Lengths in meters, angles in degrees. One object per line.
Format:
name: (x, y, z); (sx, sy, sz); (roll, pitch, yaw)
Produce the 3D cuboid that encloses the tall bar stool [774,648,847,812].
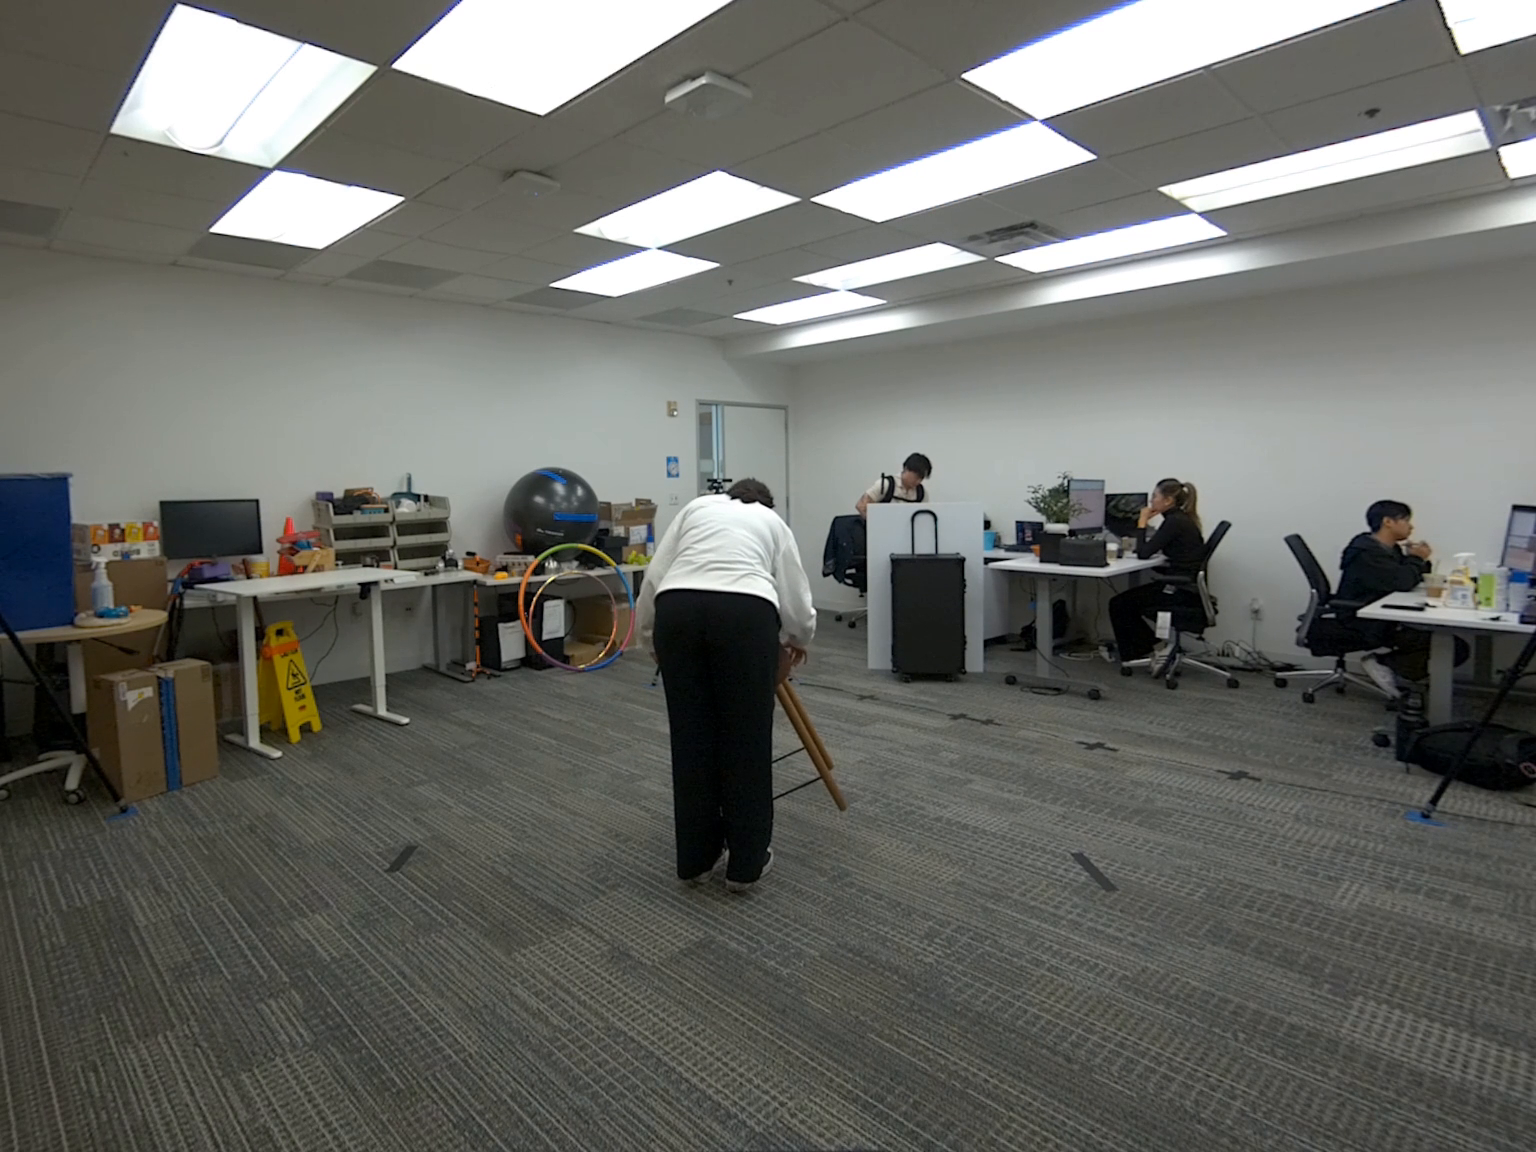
tall bar stool: (-0.060, 0.537, 3.408); (0.456, 0.882, 0.472); (-25, 8, -1)
